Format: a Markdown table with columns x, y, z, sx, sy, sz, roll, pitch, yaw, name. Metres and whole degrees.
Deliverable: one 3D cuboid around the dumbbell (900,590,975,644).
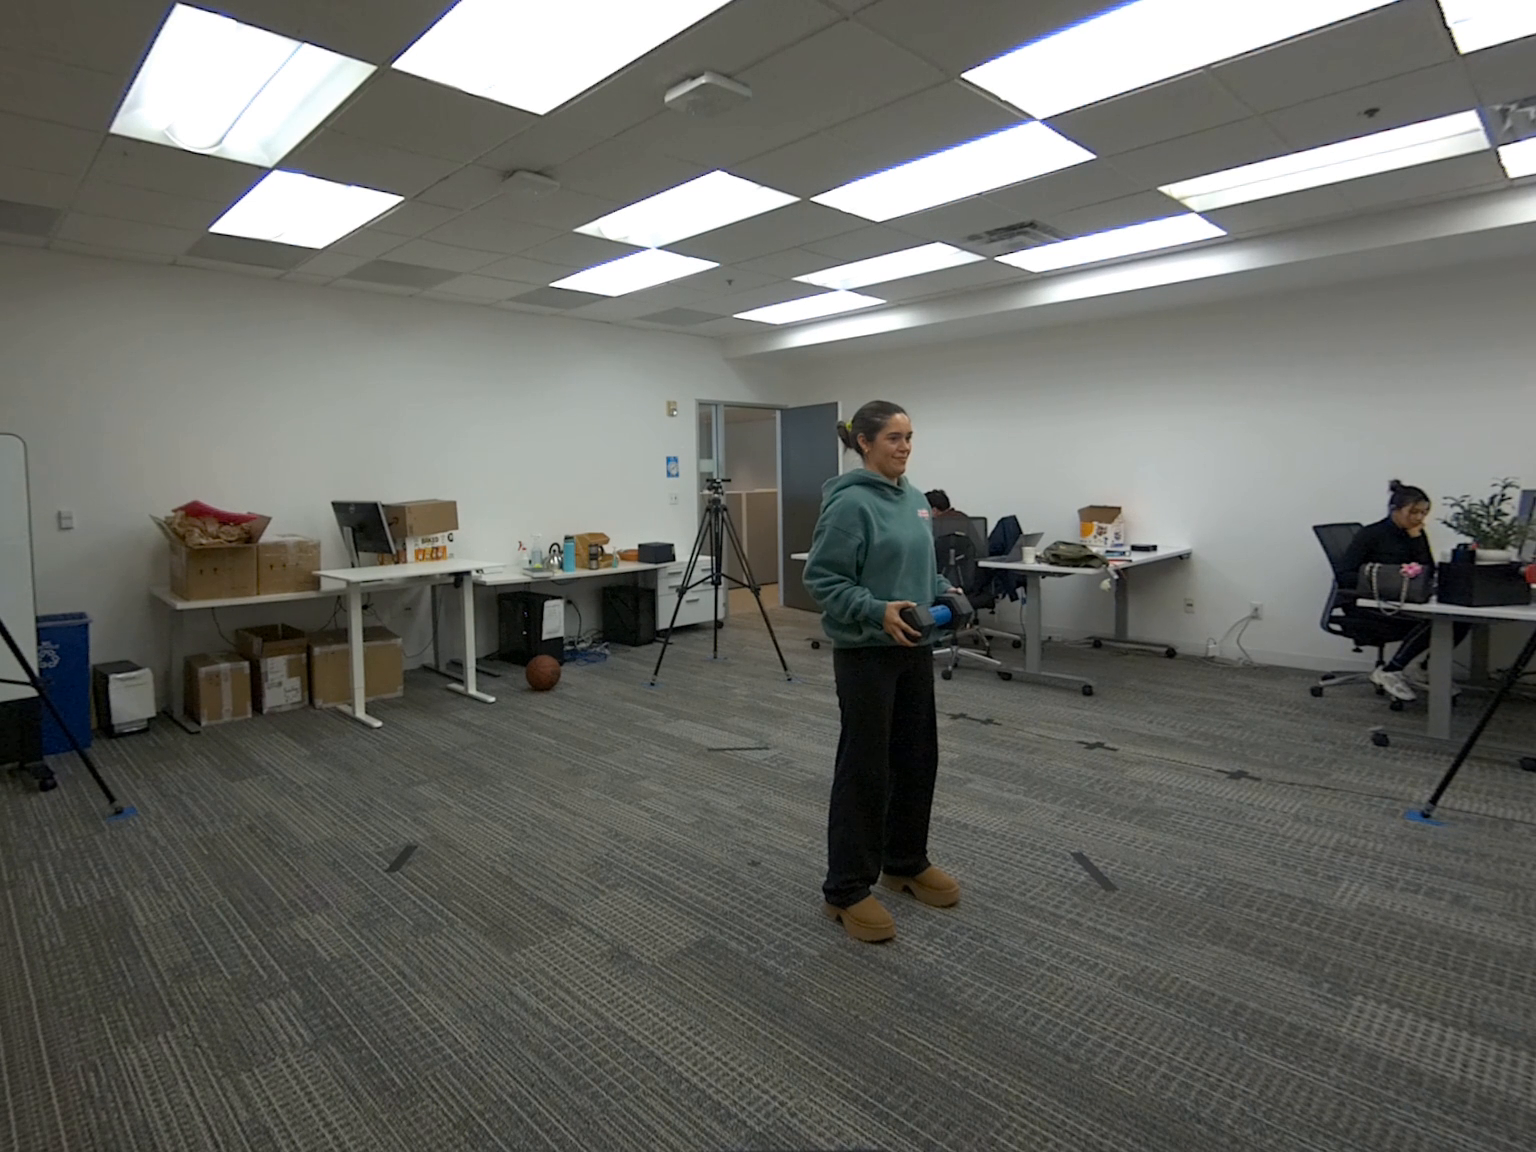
| x | y | z | sx | sy | sz | roll | pitch | yaw | name |
| --- | --- | --- | --- | --- | --- | --- | --- | --- | --- |
| 0.496 | 0.125 | 2.611 | 0.286 | 0.125 | 0.109 | -10 | -21 | -45 | dumbbell |
